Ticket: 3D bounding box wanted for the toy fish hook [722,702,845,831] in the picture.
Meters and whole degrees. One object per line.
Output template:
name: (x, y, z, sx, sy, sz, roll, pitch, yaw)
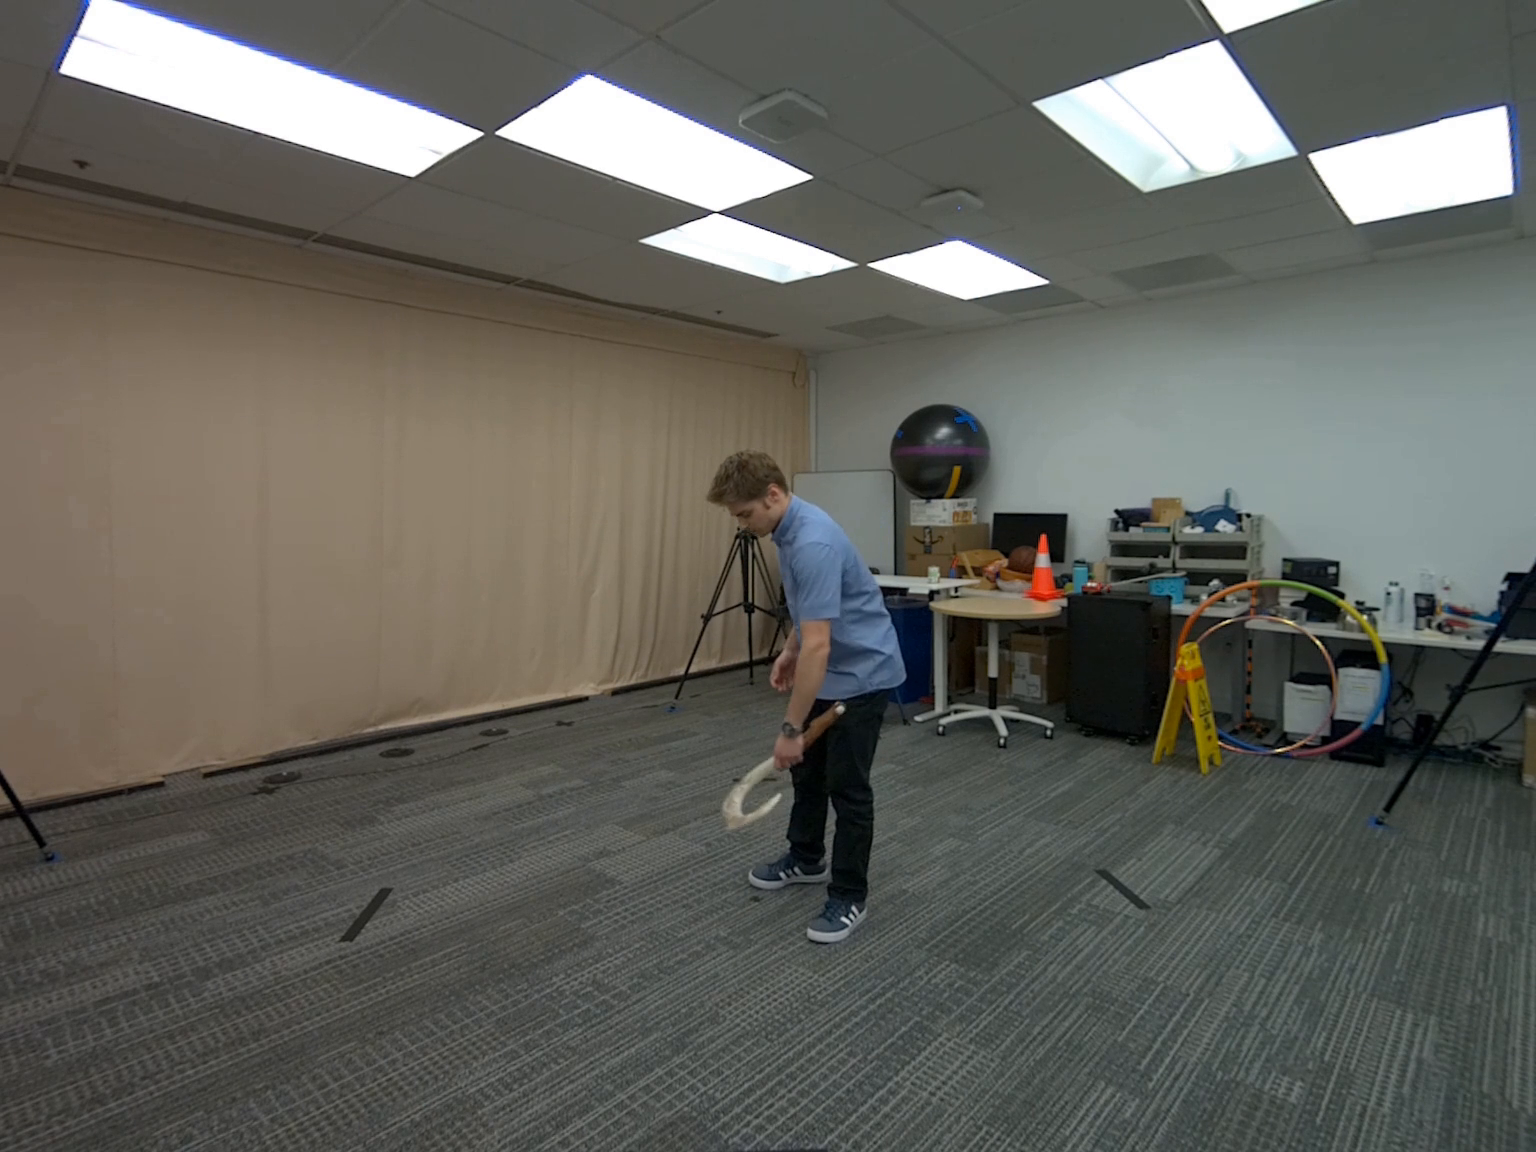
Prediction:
toy fish hook: (0.066, 0.584, 2.550, 0.506, 0.047, 0.230, -43, 24, -1)
